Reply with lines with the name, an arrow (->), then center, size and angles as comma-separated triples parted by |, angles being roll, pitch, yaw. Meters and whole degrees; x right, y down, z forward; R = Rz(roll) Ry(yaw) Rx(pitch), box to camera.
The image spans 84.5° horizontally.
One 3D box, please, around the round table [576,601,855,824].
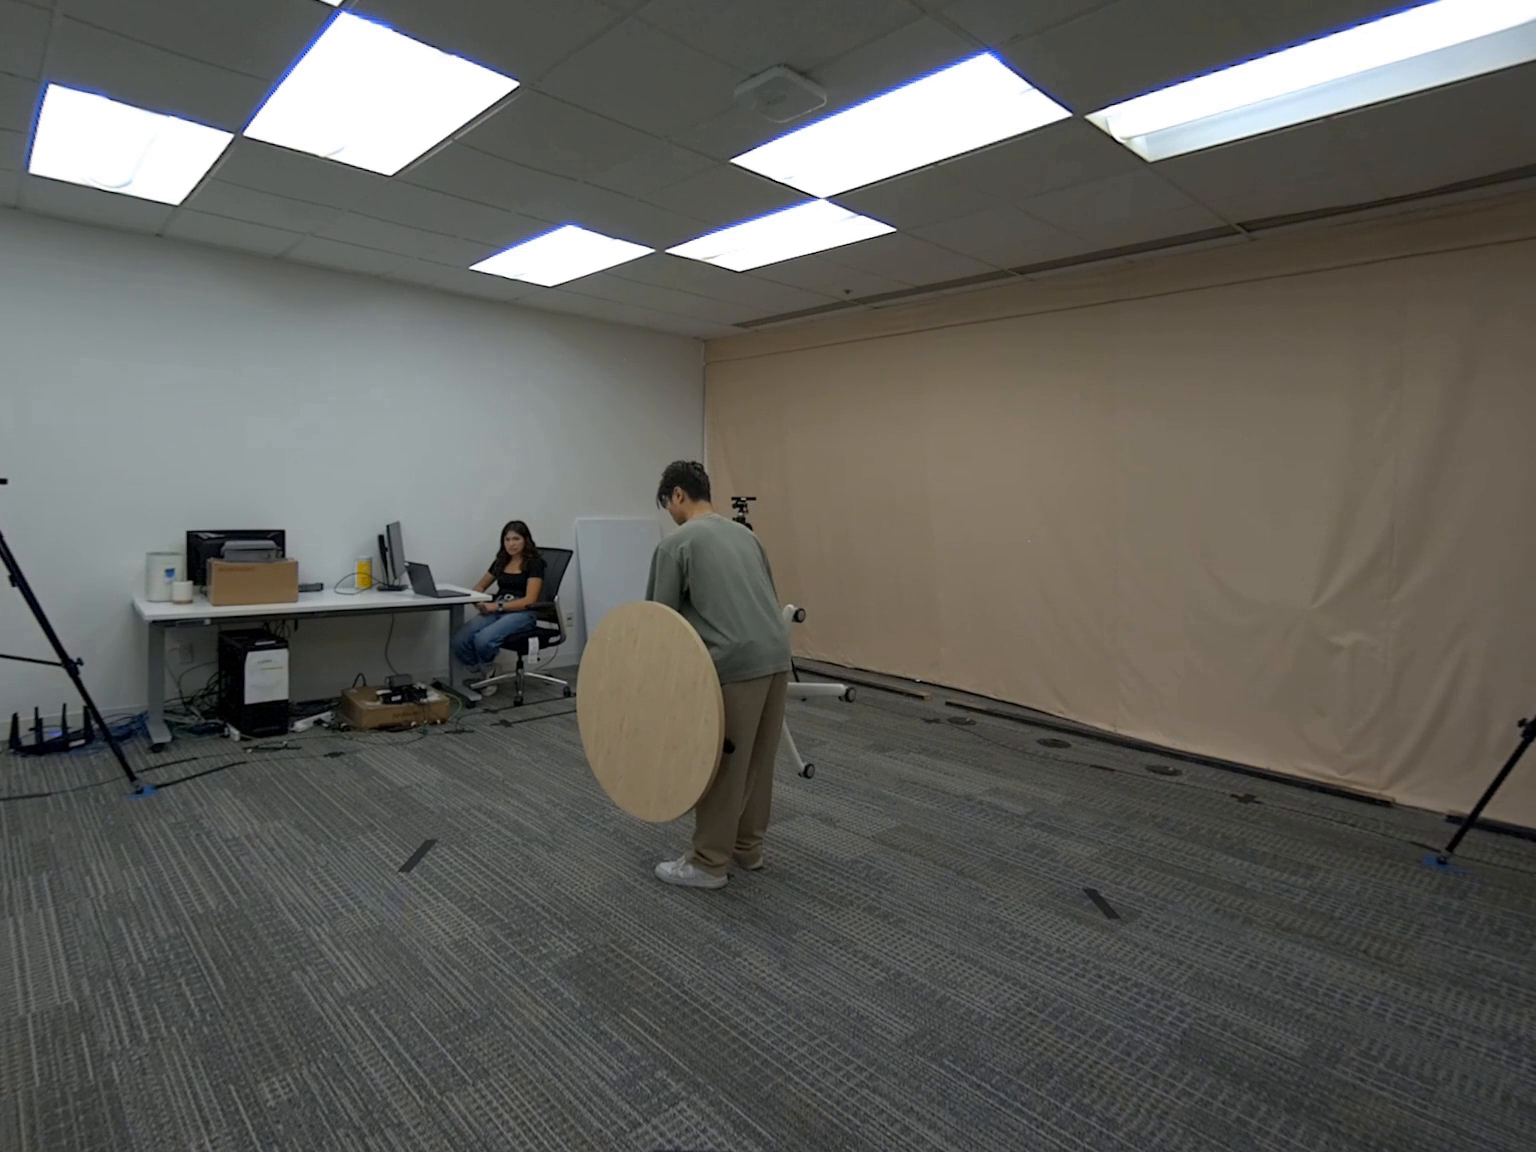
round table -> -0.193, 0.471, 3.245 | 0.805, 0.784, 0.767 | 5, 3, 42
